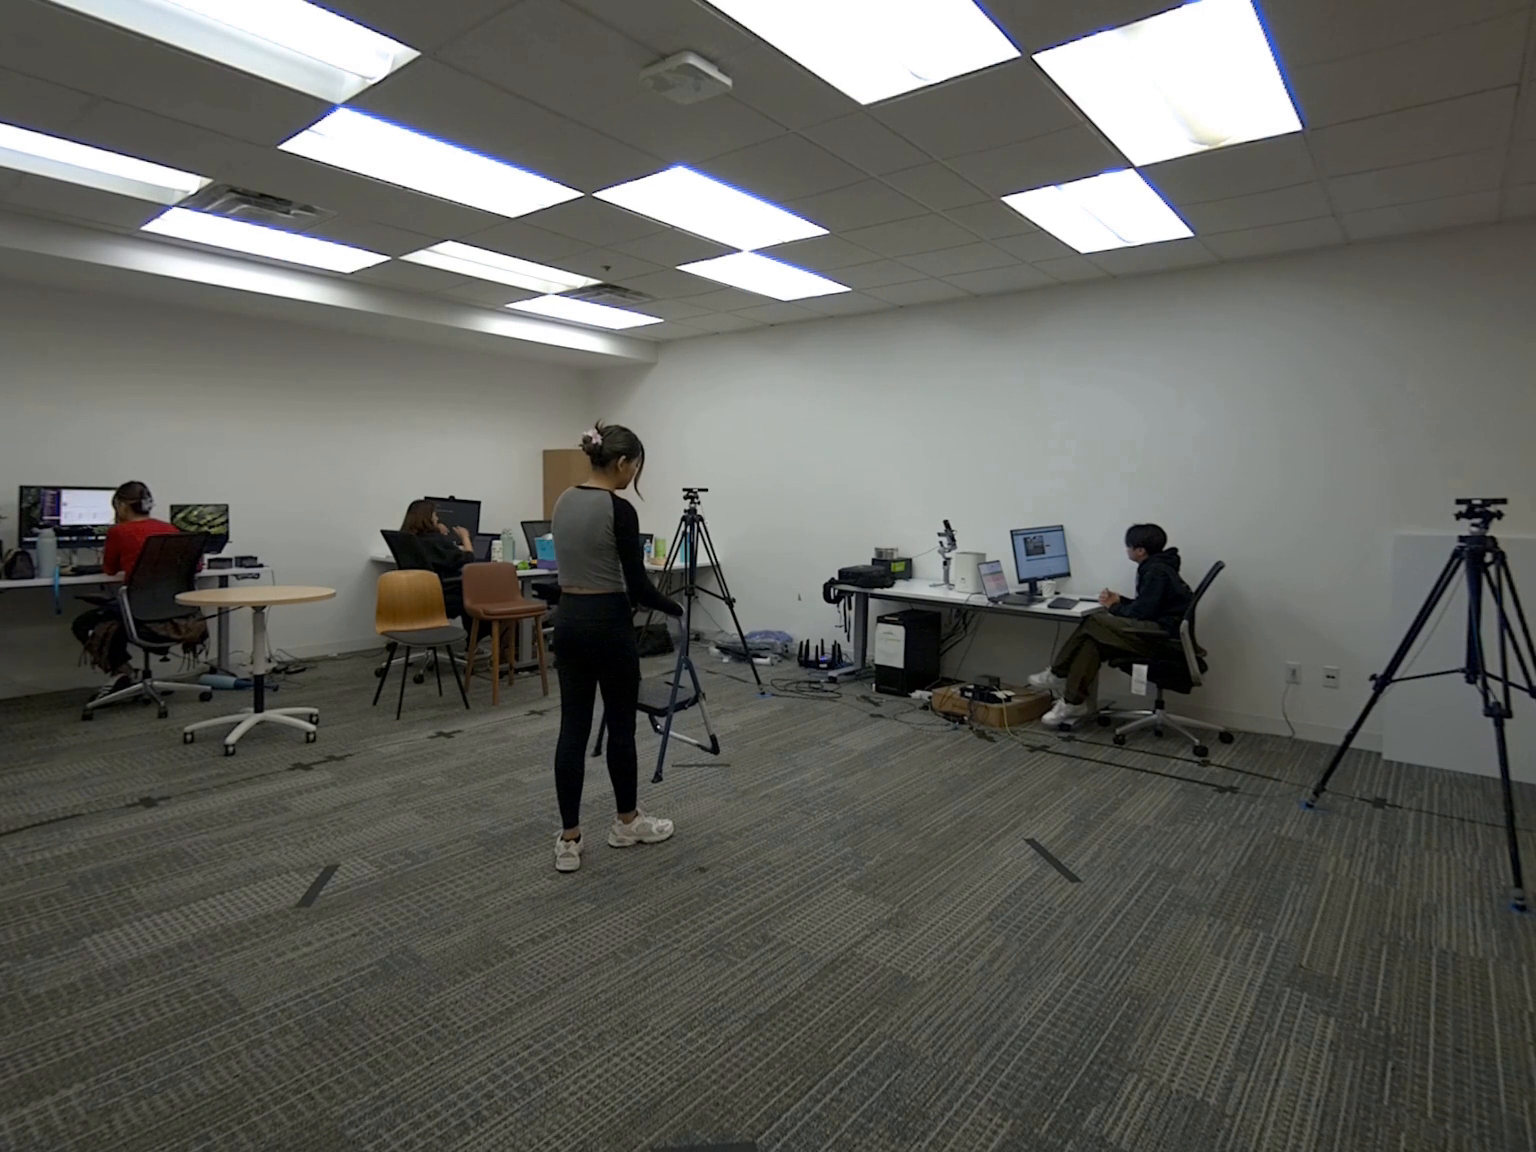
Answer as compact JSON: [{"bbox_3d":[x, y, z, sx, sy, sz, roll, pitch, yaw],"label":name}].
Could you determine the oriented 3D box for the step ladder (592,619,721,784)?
[{"bbox_3d":[-0.481,0.432,3.419,0.445,0.601,0.340,5,12,45],"label":"step ladder"}]
